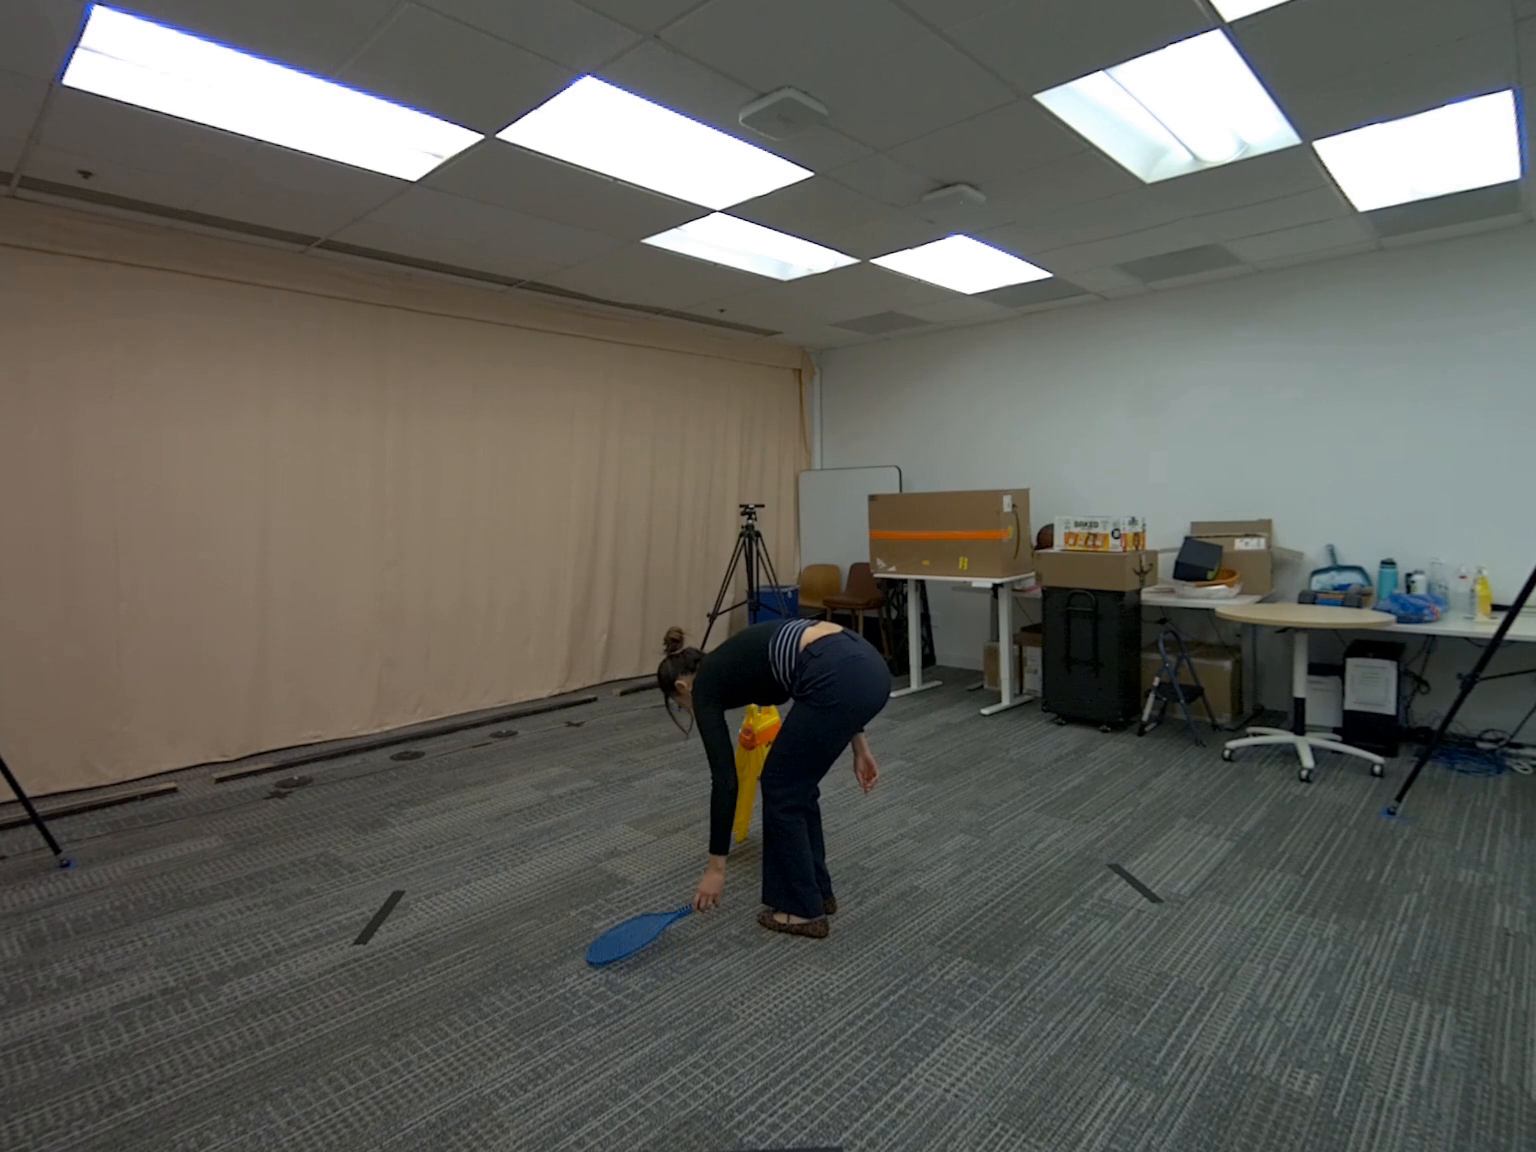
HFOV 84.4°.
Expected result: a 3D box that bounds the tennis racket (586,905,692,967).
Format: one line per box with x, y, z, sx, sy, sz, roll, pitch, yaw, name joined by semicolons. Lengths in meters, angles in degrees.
-0.354;1.100;2.642;0.429;0.031;0.216;-22;6;-13;tennis racket
